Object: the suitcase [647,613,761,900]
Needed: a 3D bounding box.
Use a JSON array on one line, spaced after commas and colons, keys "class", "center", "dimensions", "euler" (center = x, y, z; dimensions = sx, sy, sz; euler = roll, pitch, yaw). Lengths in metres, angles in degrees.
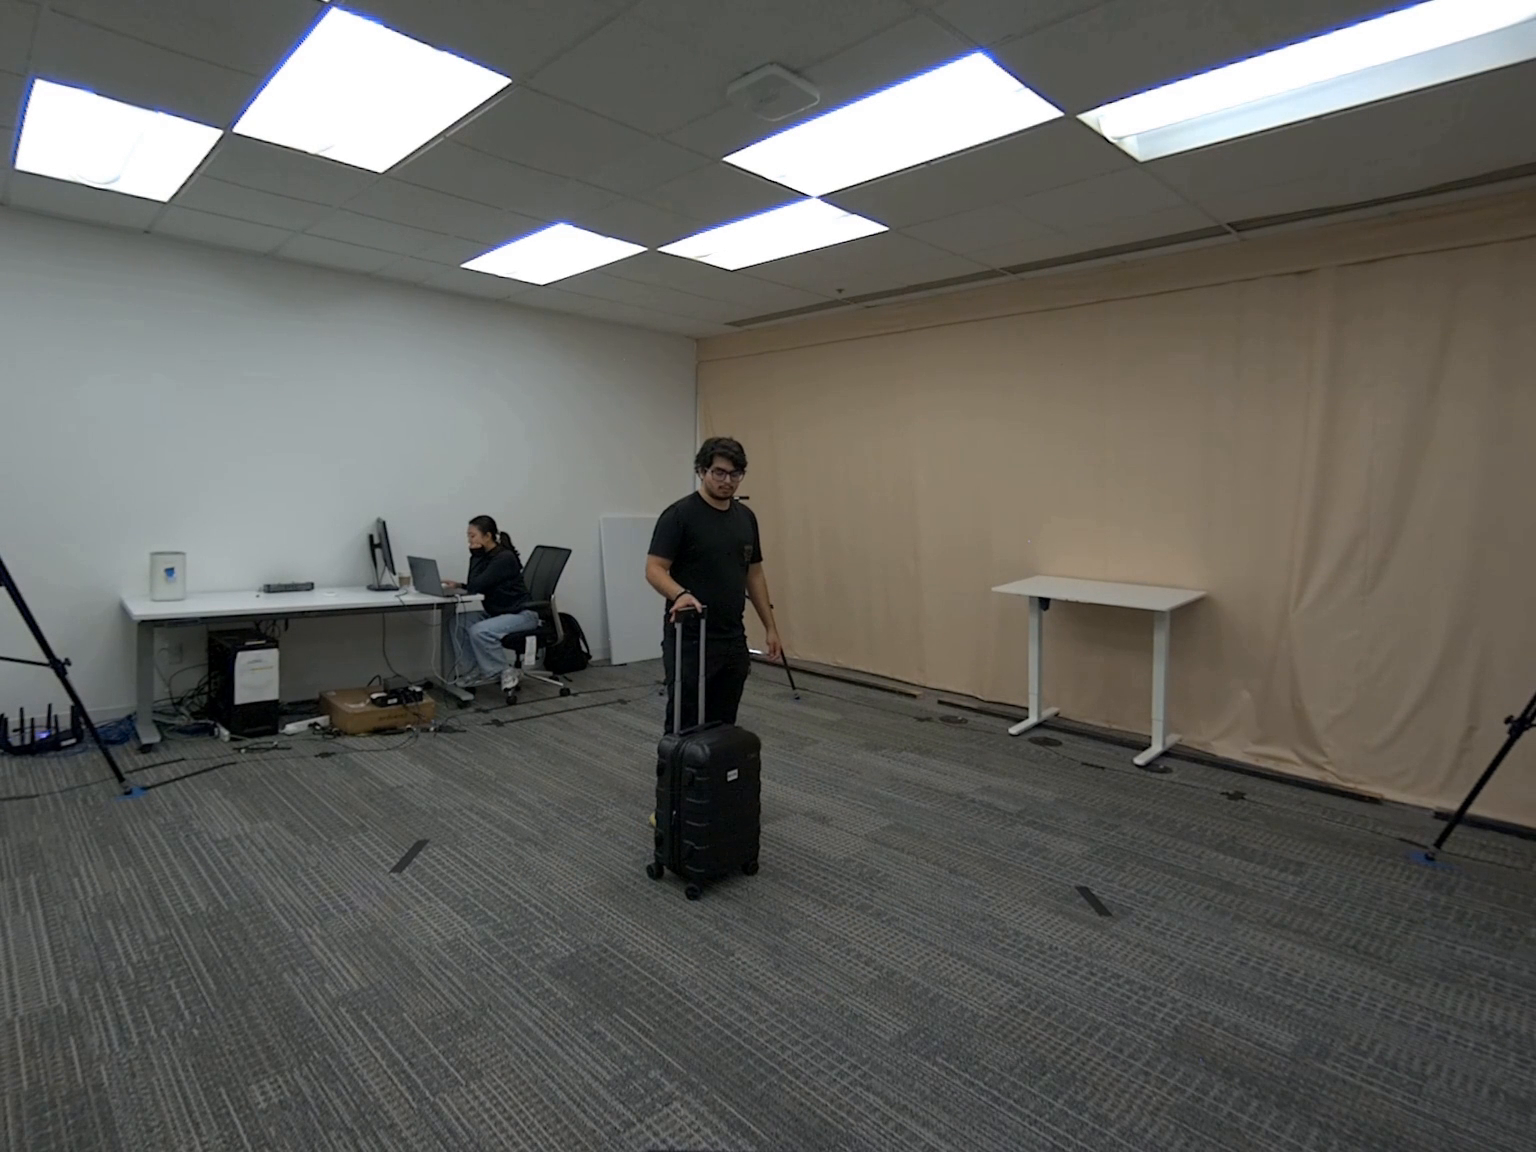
[{"class": "suitcase", "center": [-0.217, 0.630, 3.062], "dimensions": [0.264, 0.975, 0.375], "euler": [9, 7, 41]}]
